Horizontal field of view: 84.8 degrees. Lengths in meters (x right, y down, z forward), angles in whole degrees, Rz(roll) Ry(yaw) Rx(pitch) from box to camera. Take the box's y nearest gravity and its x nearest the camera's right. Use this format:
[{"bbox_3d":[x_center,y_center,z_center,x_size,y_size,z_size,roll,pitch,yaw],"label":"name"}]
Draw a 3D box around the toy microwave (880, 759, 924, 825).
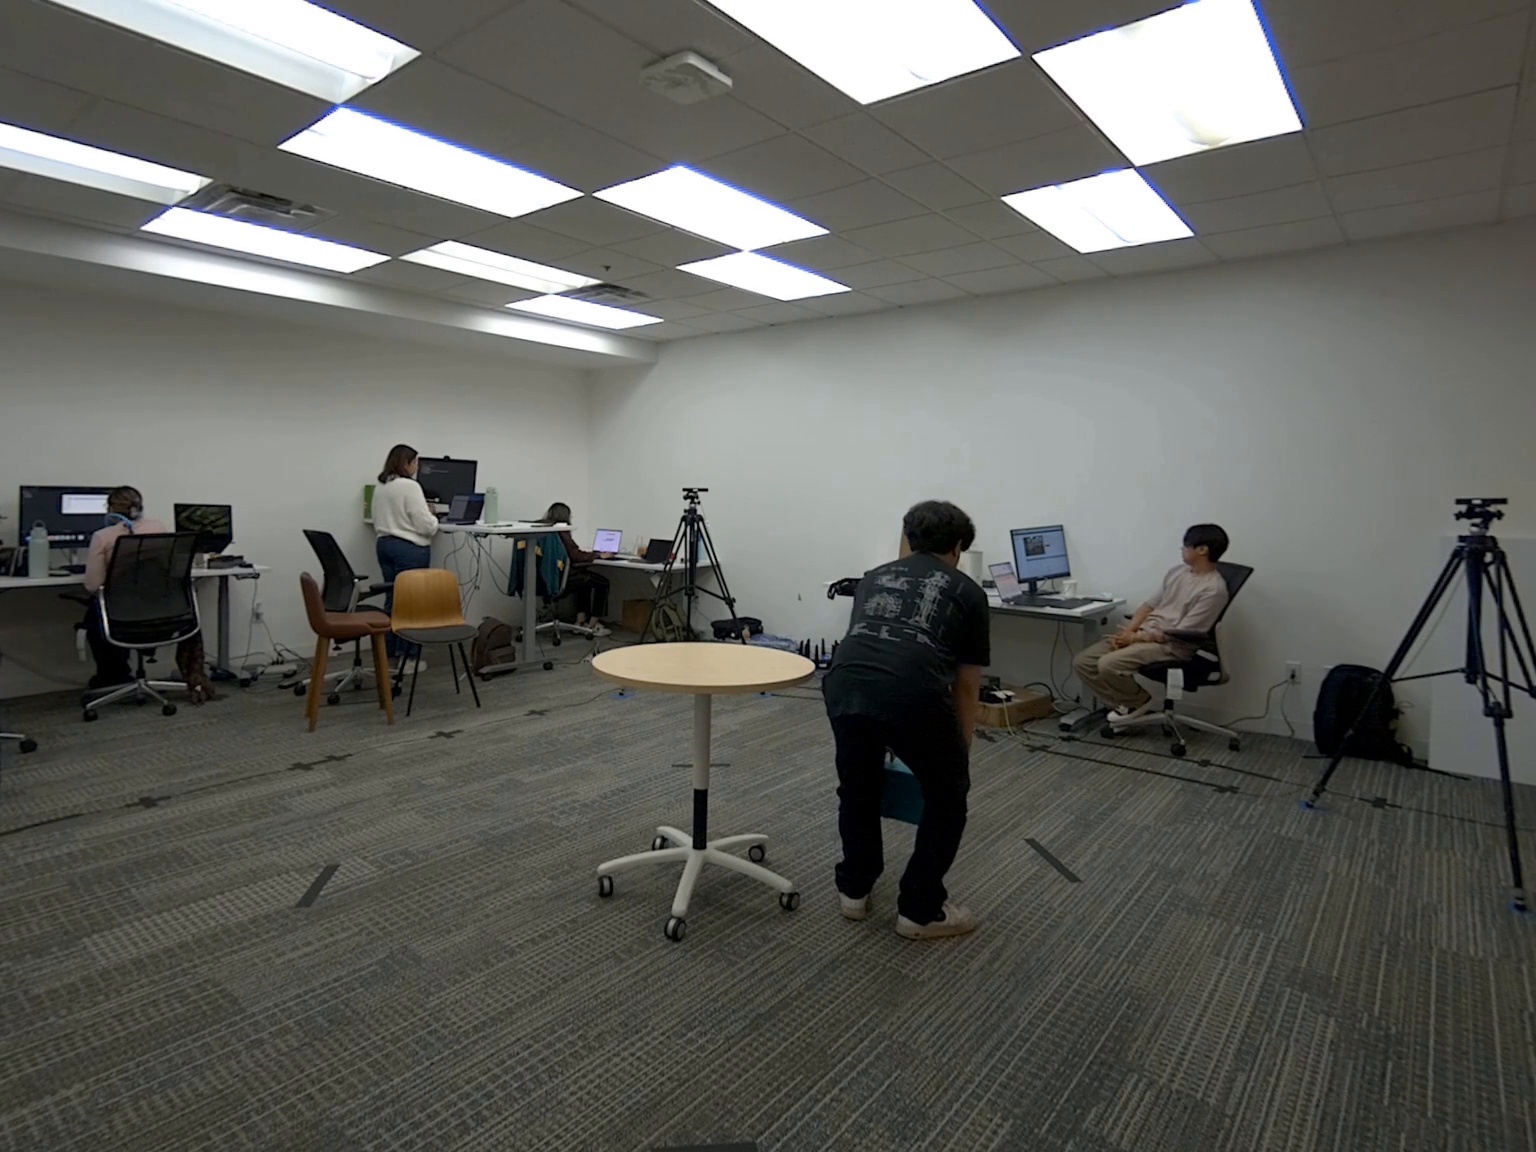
[{"bbox_3d":[0.513,0.758,2.955,0.295,0.184,0.148,4,3,35],"label":"toy microwave"}]
